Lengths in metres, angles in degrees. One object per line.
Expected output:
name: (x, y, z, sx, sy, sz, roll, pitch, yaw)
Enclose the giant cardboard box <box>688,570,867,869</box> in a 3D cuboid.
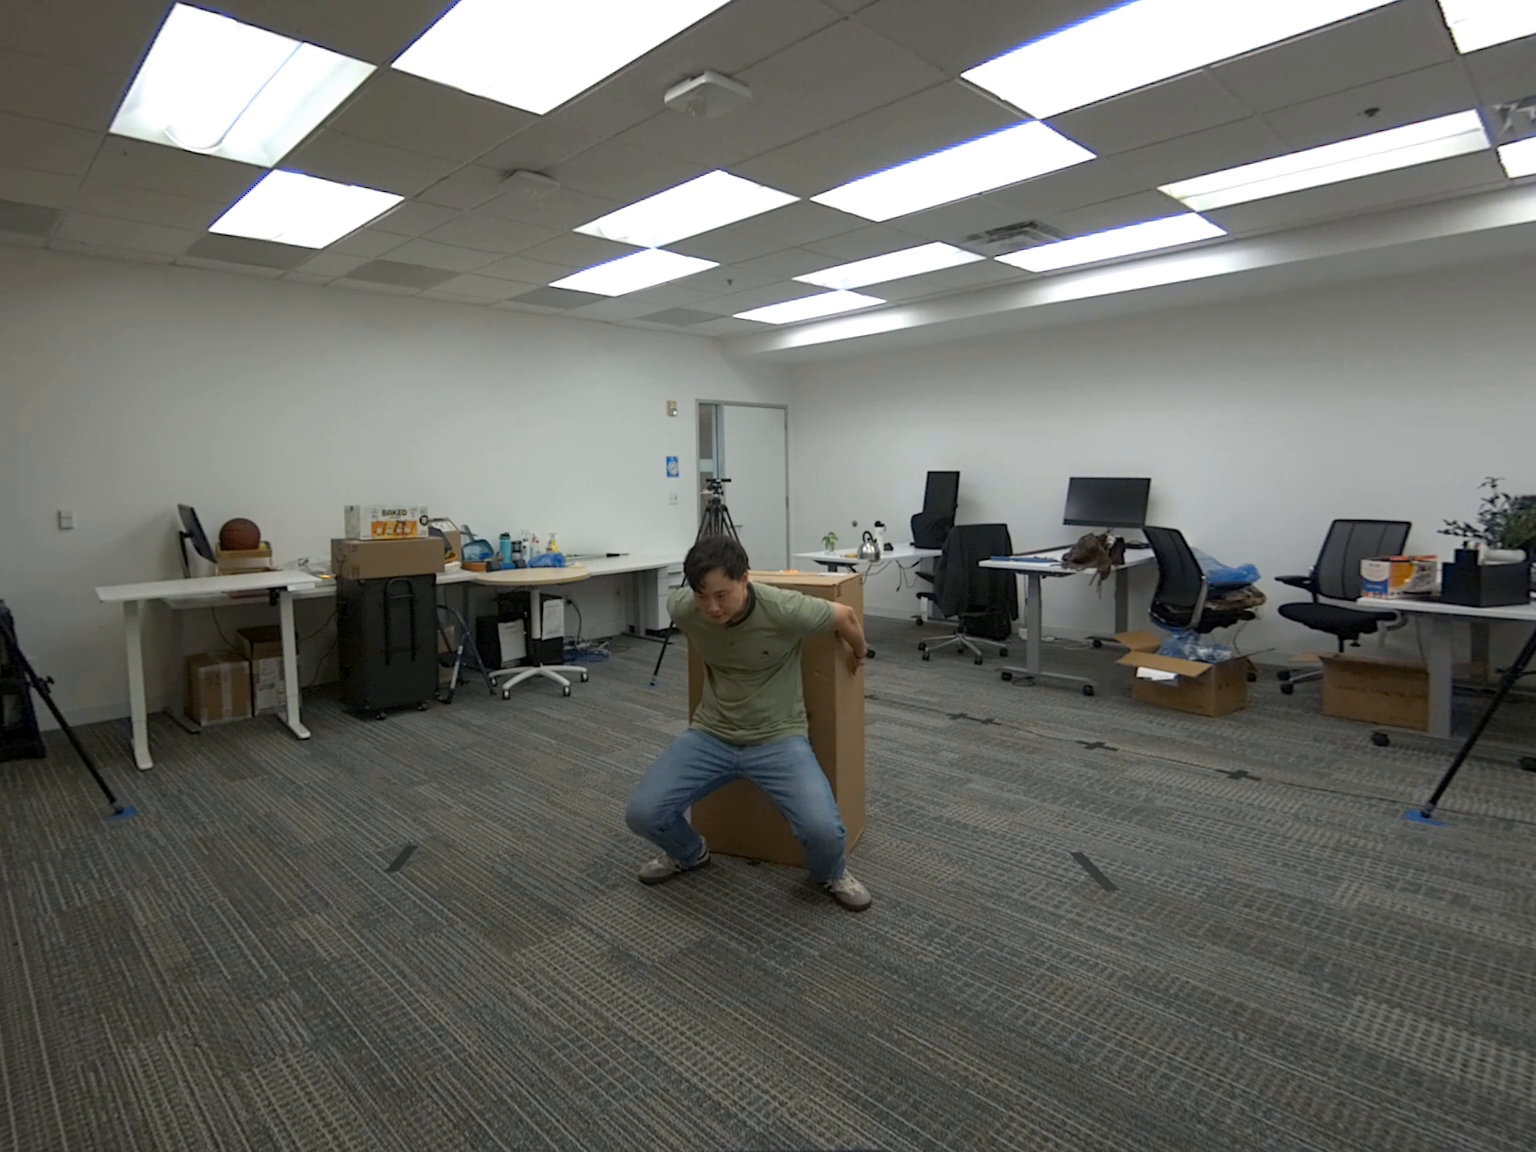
giant cardboard box: (0.046, 0.505, 3.295, 0.590, 1.023, 0.418, 1, 3, 22)
